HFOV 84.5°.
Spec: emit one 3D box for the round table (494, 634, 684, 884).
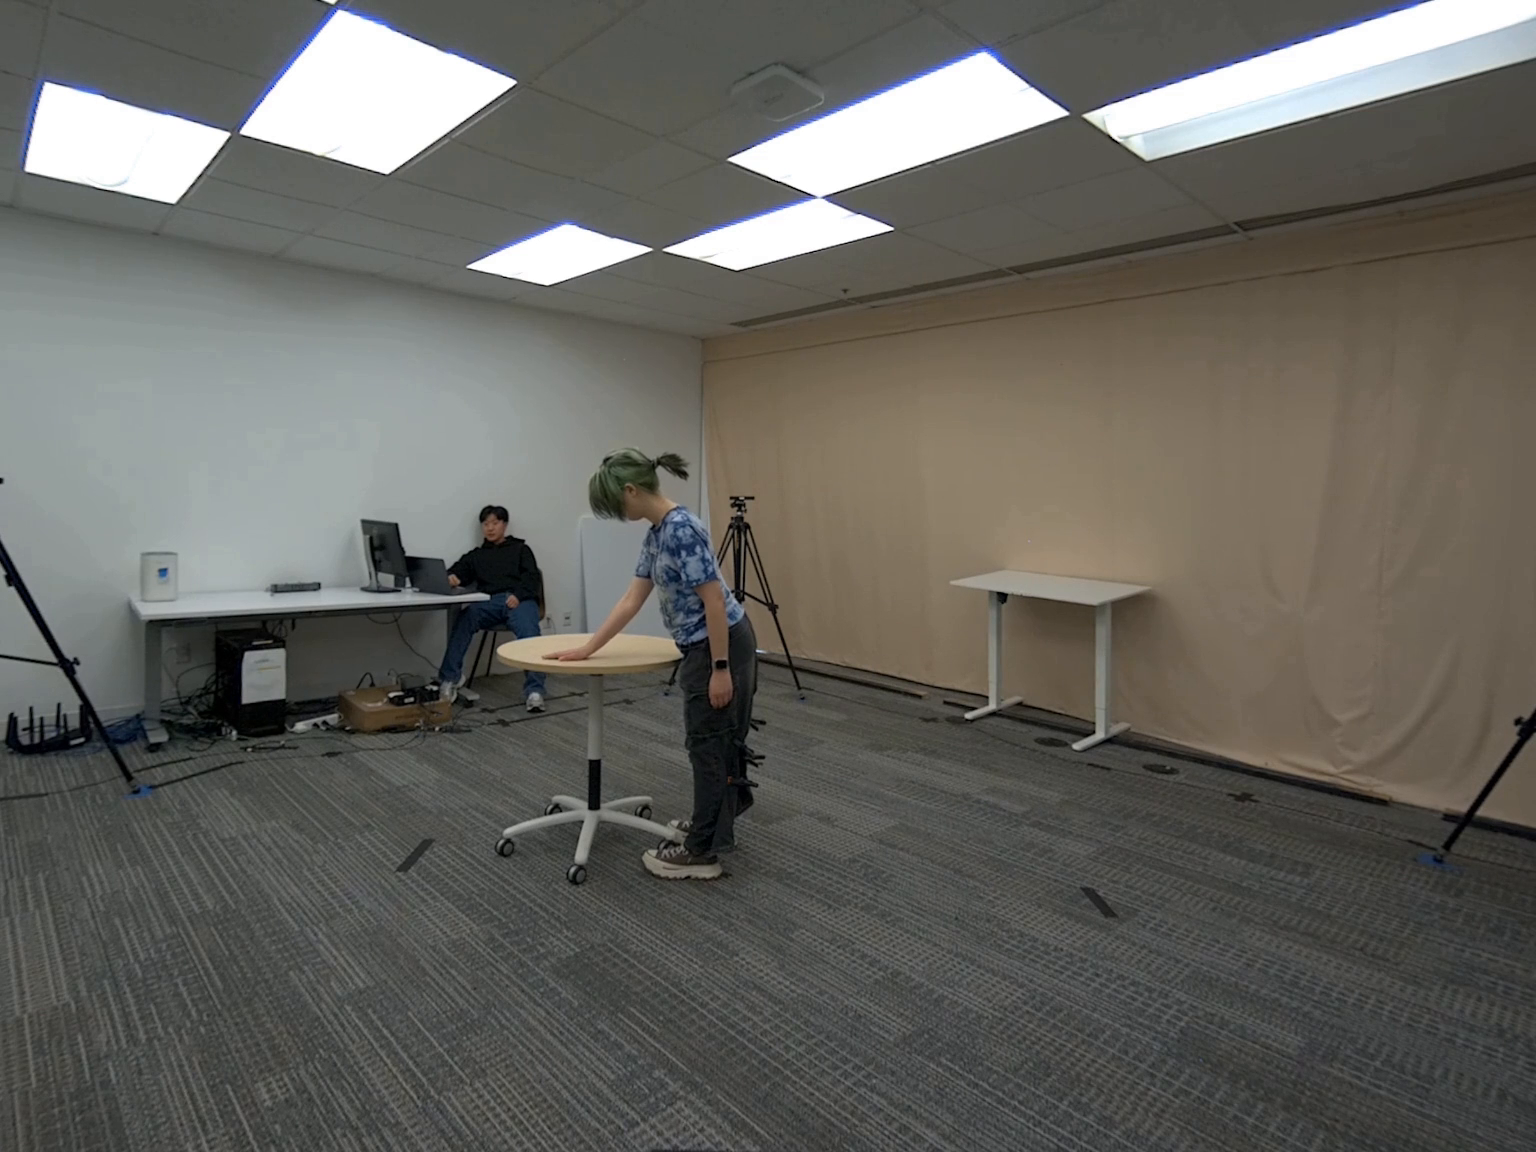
[{"bbox_3d":[-0.681,0.674,3.352,0.784,0.784,0.788,1,4,-1],"label":"round table"}]
